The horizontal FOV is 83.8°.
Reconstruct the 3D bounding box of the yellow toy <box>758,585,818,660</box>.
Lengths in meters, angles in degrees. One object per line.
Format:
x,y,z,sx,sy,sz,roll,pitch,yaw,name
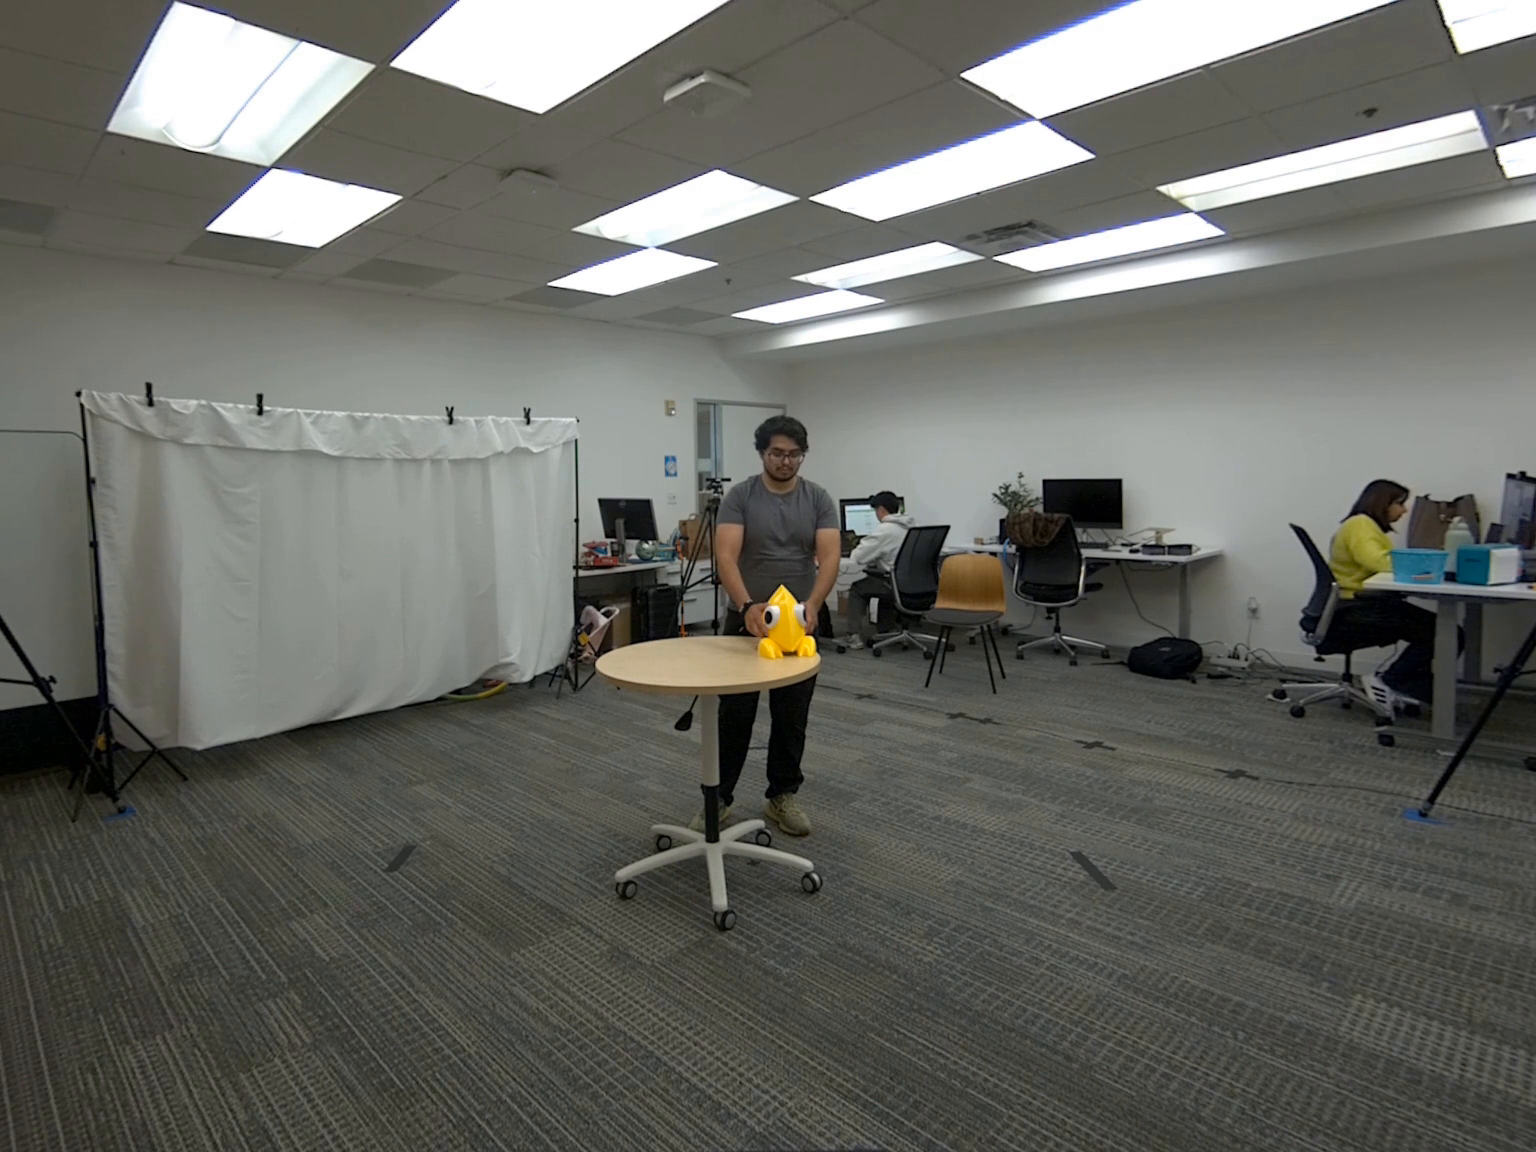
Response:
0.062,0.156,2.980,0.203,0.229,0.196,-4,6,-9,yellow toy
